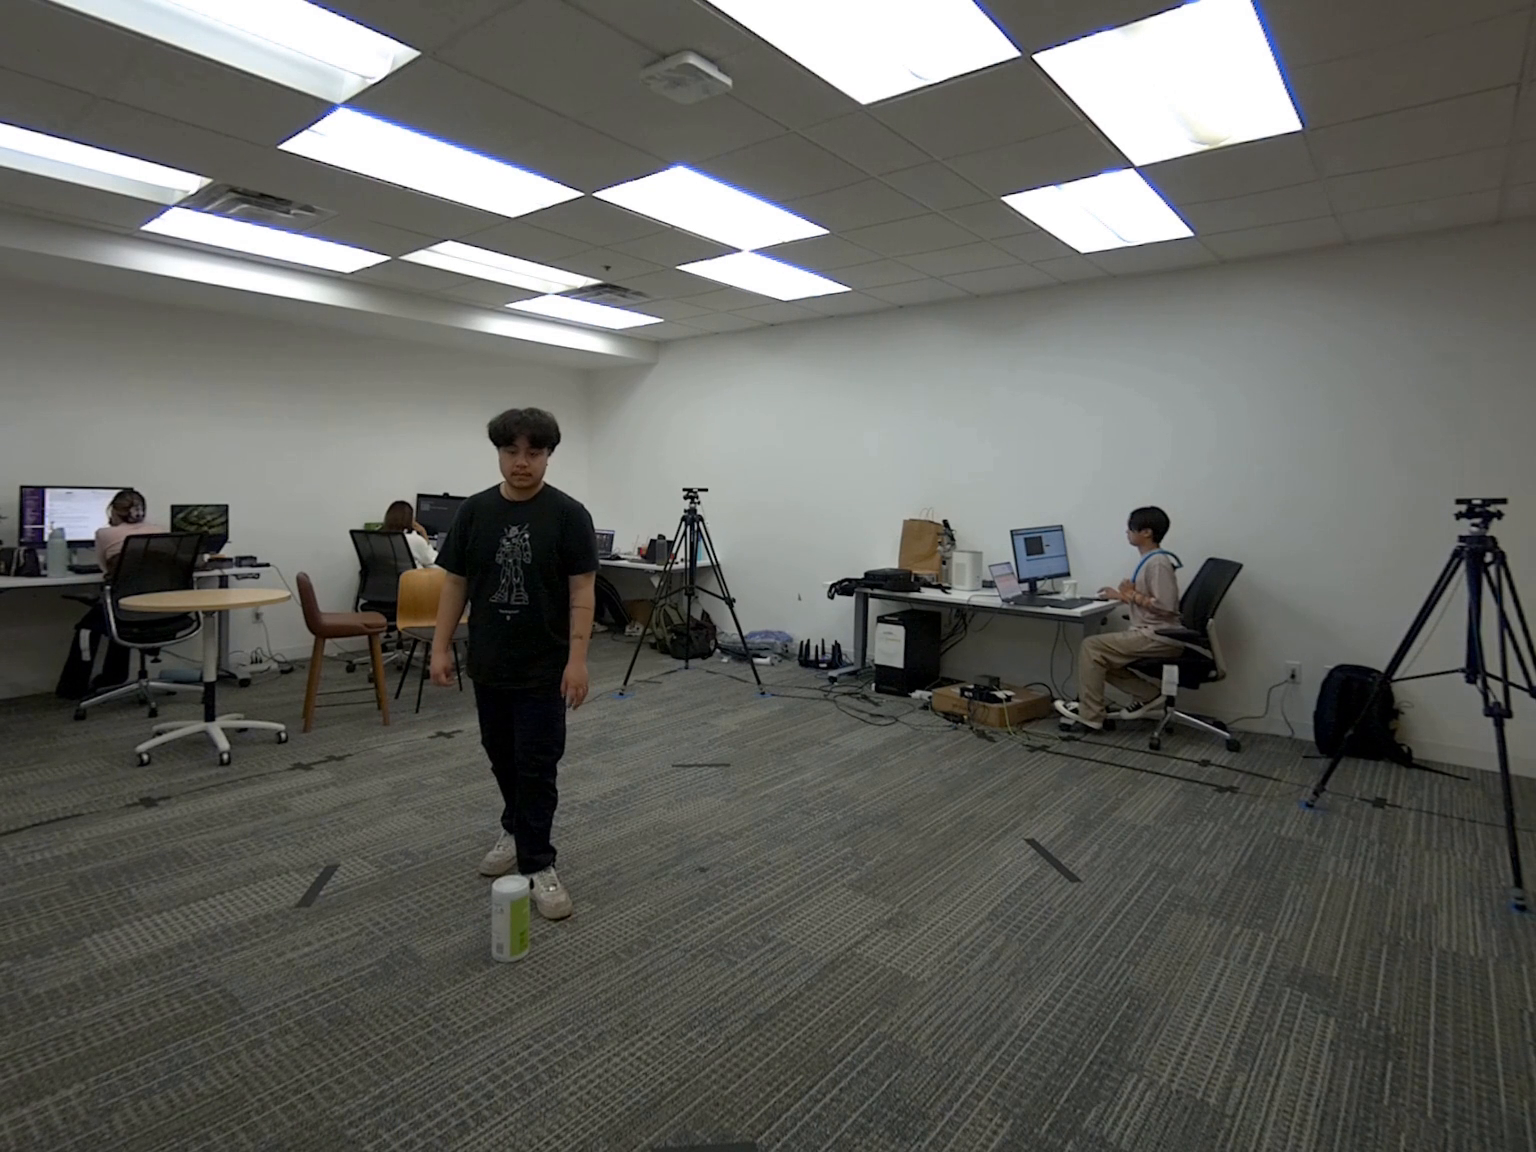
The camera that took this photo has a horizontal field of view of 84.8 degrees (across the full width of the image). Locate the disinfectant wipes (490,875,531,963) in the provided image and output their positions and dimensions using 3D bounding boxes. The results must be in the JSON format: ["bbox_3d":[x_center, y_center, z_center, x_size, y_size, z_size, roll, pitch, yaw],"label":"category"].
[{"bbox_3d":[-0.767,1.015,2.522,0.118,0.217,0.118,0,3,-2],"label":"disinfectant wipes"}]
